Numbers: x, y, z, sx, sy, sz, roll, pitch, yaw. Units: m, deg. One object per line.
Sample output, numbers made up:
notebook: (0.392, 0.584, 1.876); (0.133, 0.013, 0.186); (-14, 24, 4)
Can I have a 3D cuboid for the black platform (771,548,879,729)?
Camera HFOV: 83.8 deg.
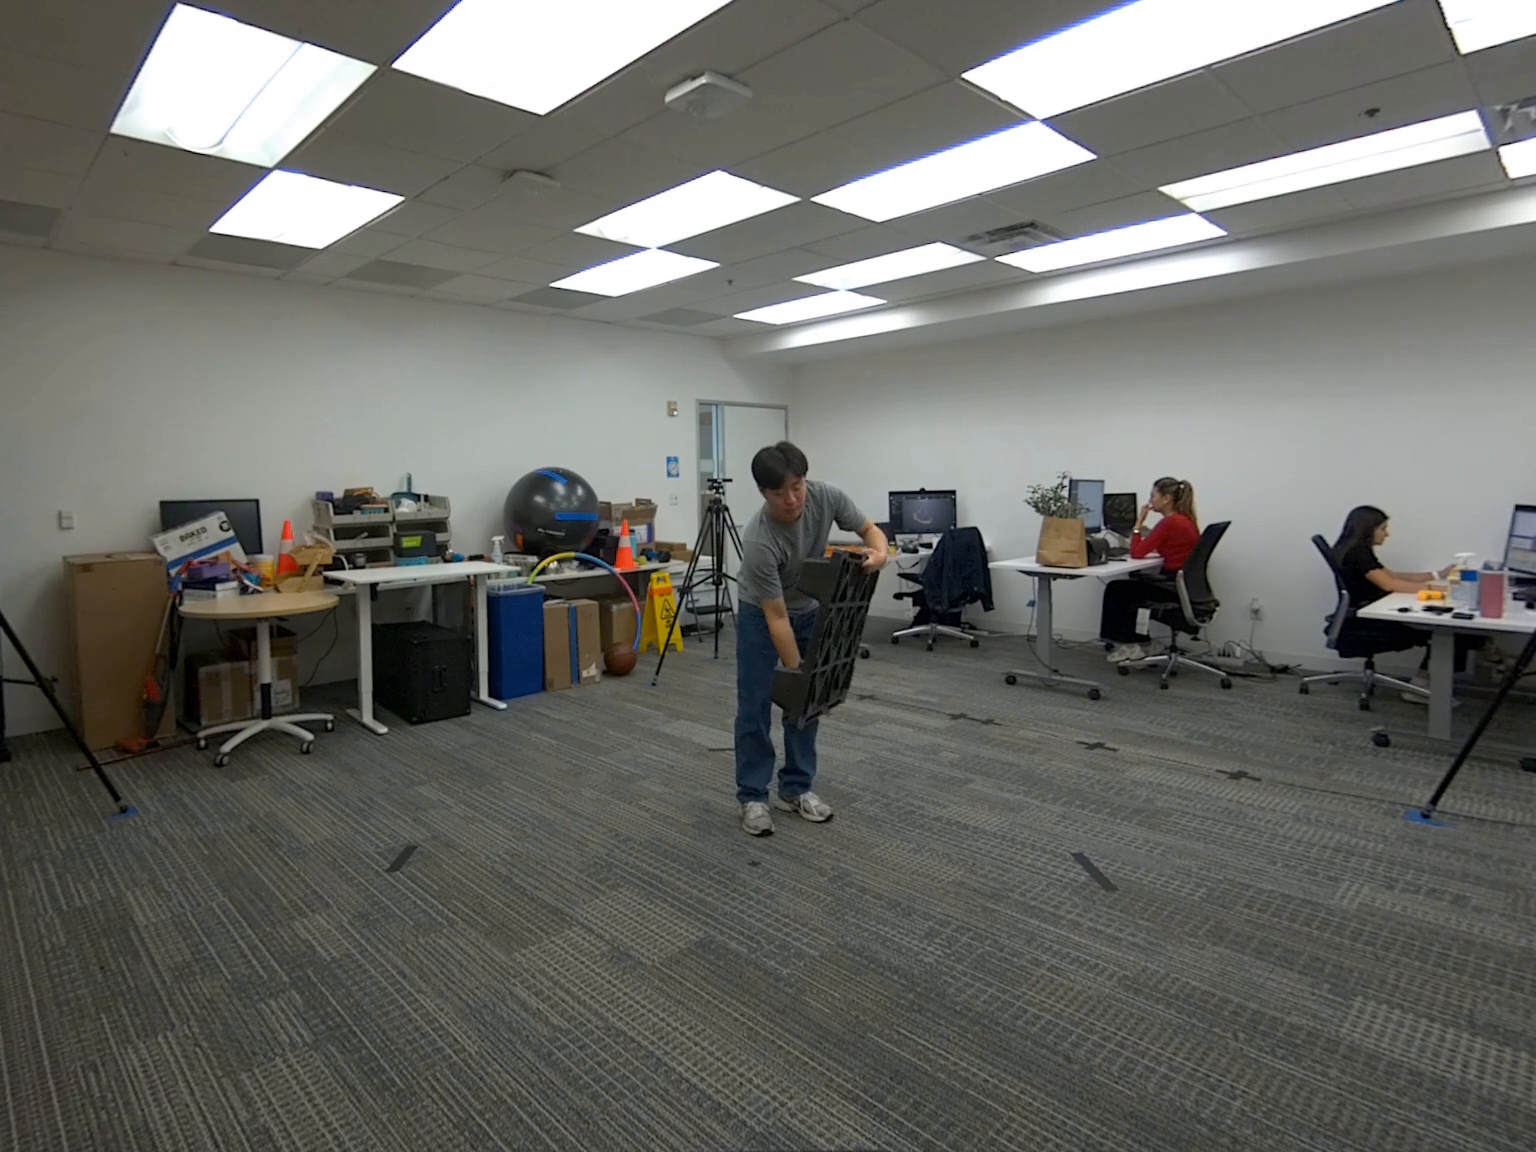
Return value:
black platform: (0.215, 0.185, 3.107); (0.146, 0.605, 0.790); (13, 1, 16)
